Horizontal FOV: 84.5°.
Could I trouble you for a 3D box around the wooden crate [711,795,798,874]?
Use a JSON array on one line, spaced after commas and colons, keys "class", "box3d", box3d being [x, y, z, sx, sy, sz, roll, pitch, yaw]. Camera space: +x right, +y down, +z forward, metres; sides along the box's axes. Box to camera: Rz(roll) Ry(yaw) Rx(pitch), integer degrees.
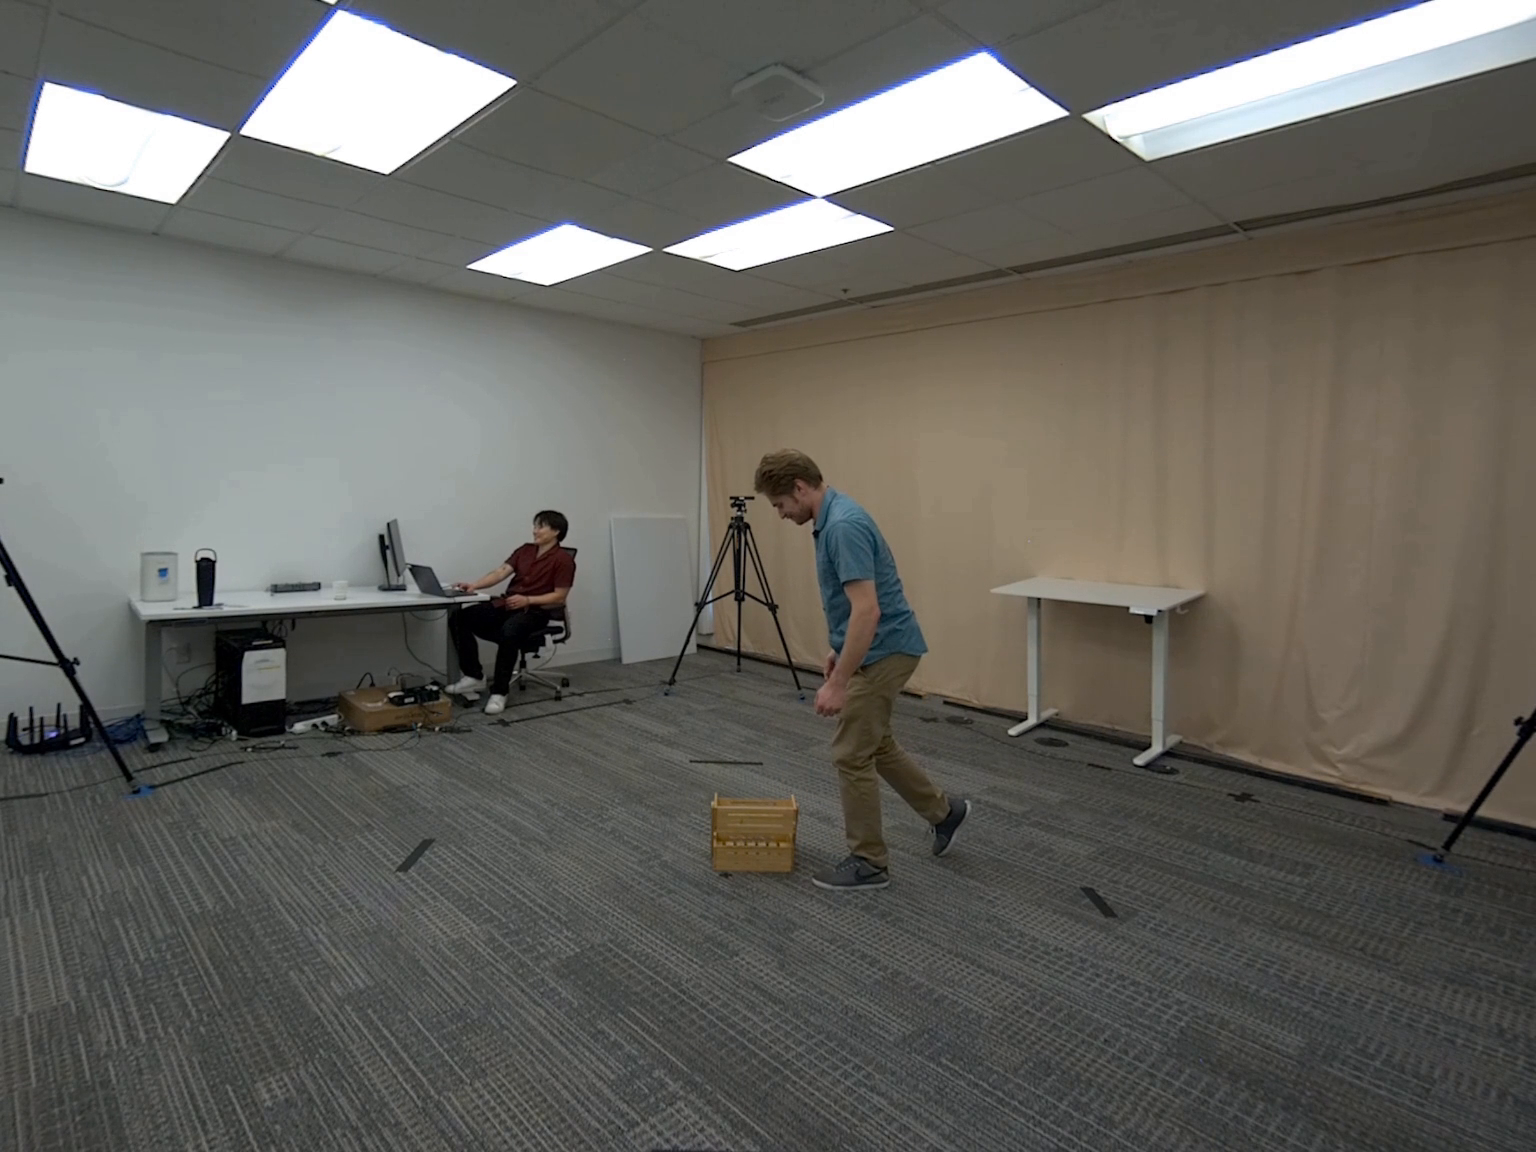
[{"class": "wooden crate", "box3d": [-0.066, 0.966, 3.228, 0.323, 0.273, 0.303, -1, 3, -4]}]
